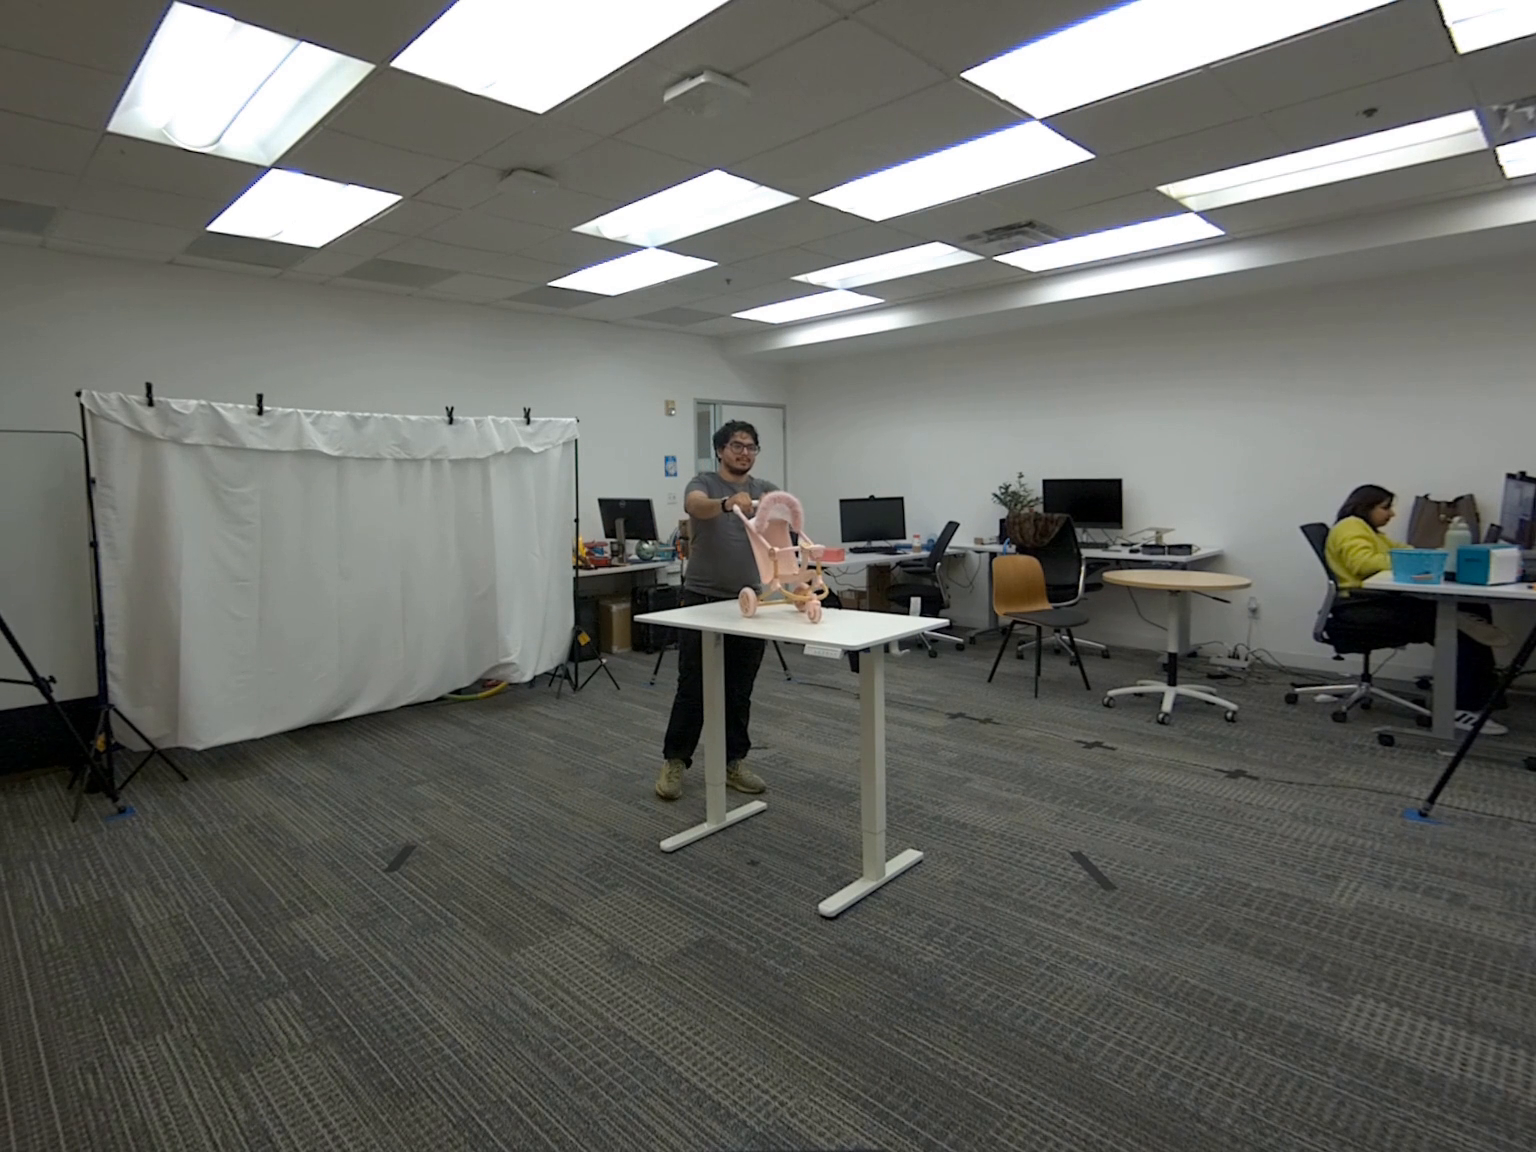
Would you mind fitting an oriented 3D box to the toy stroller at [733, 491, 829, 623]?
[{"bbox_3d":[0.057,-0.071,3.160,0.275,0.541,0.345,-3,-12,-27],"label":"toy stroller"}]
